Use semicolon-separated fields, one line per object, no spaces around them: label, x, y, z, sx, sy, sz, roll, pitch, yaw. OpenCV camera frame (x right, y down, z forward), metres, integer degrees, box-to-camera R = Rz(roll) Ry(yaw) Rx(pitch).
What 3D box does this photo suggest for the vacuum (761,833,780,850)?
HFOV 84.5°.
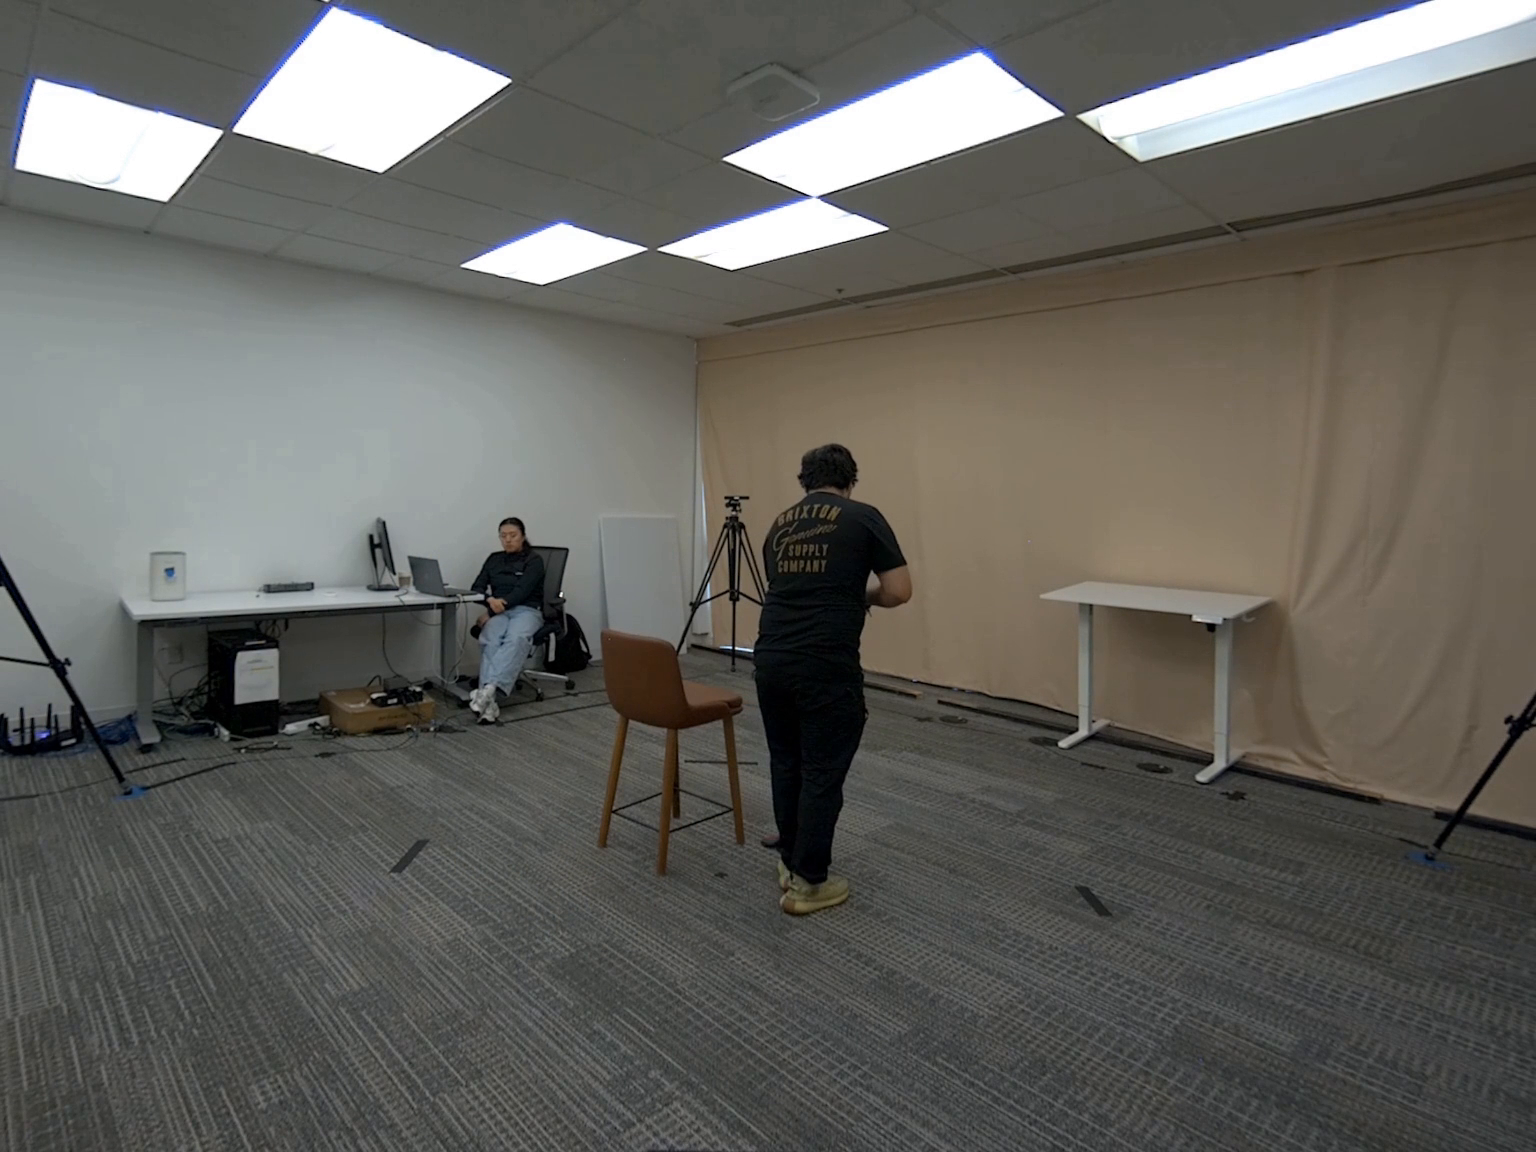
vacuum;0.205;0.608;3.220;0.248;1.038;0.148;-1;23;-29
